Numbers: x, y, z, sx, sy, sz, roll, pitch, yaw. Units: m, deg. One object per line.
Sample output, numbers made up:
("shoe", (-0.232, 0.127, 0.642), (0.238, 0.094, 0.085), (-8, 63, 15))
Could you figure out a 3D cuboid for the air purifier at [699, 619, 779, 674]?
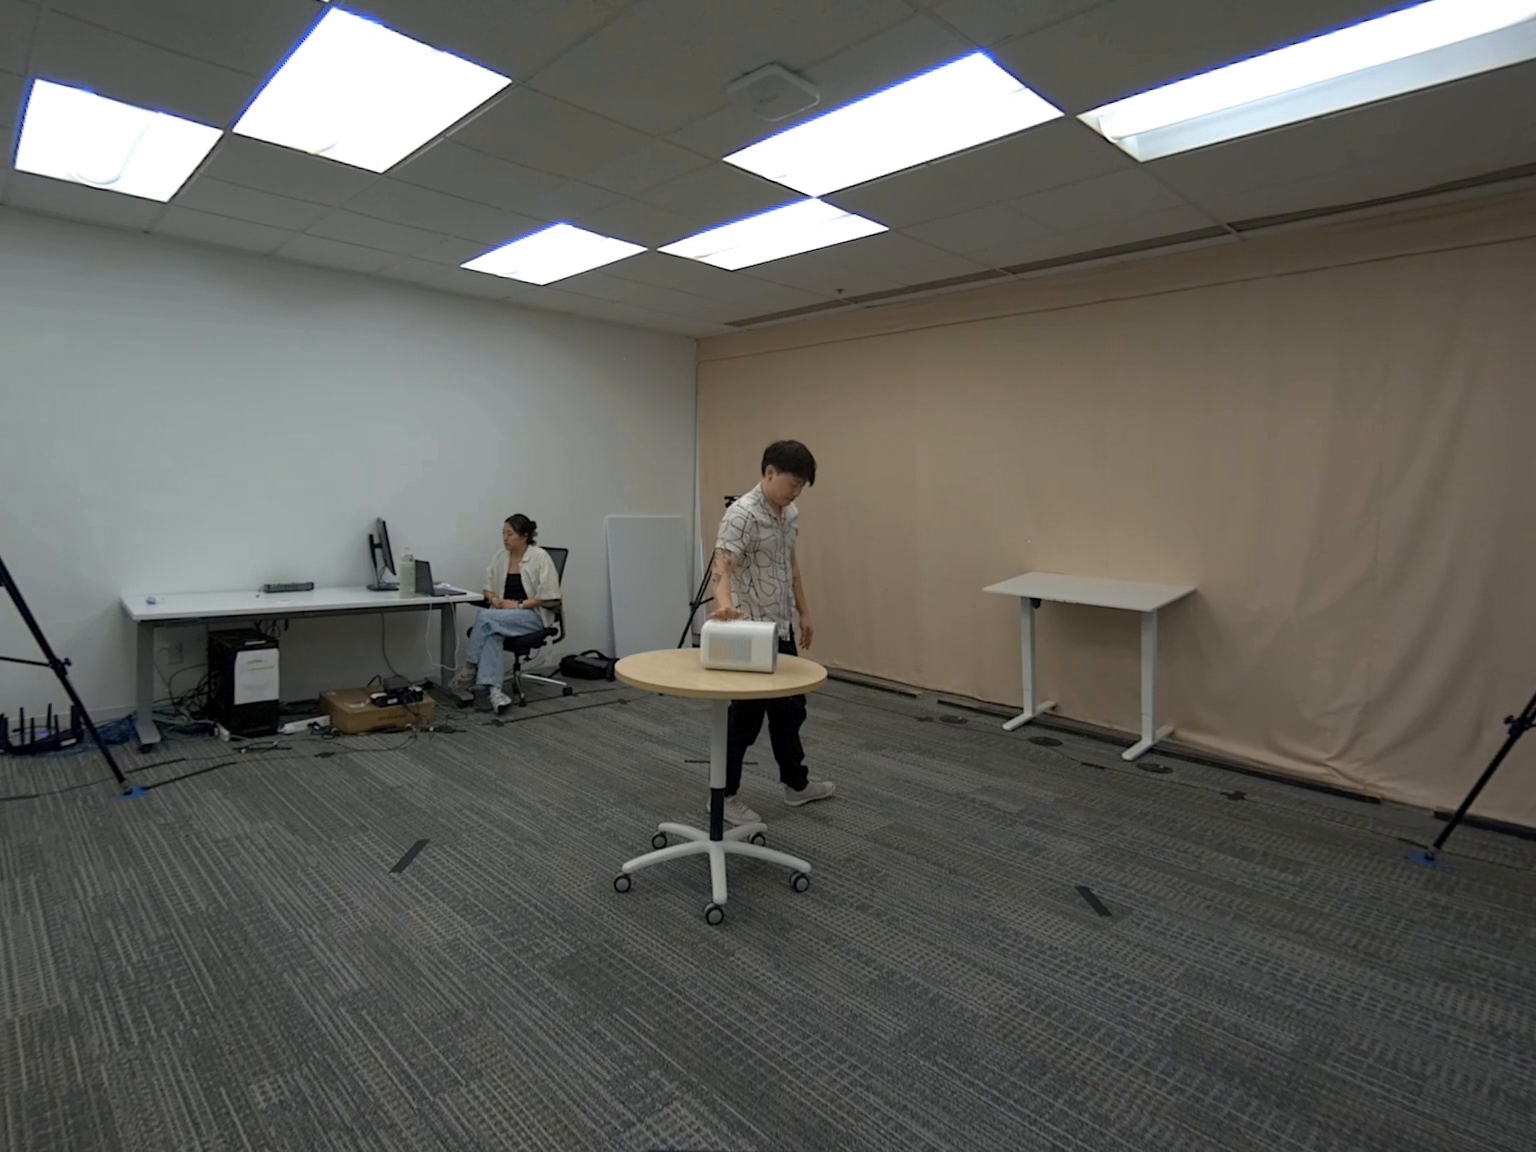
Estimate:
("air purifier", (-0.115, 0.244, 3.020), (0.266, 0.171, 0.171), (2, 4, 4))
